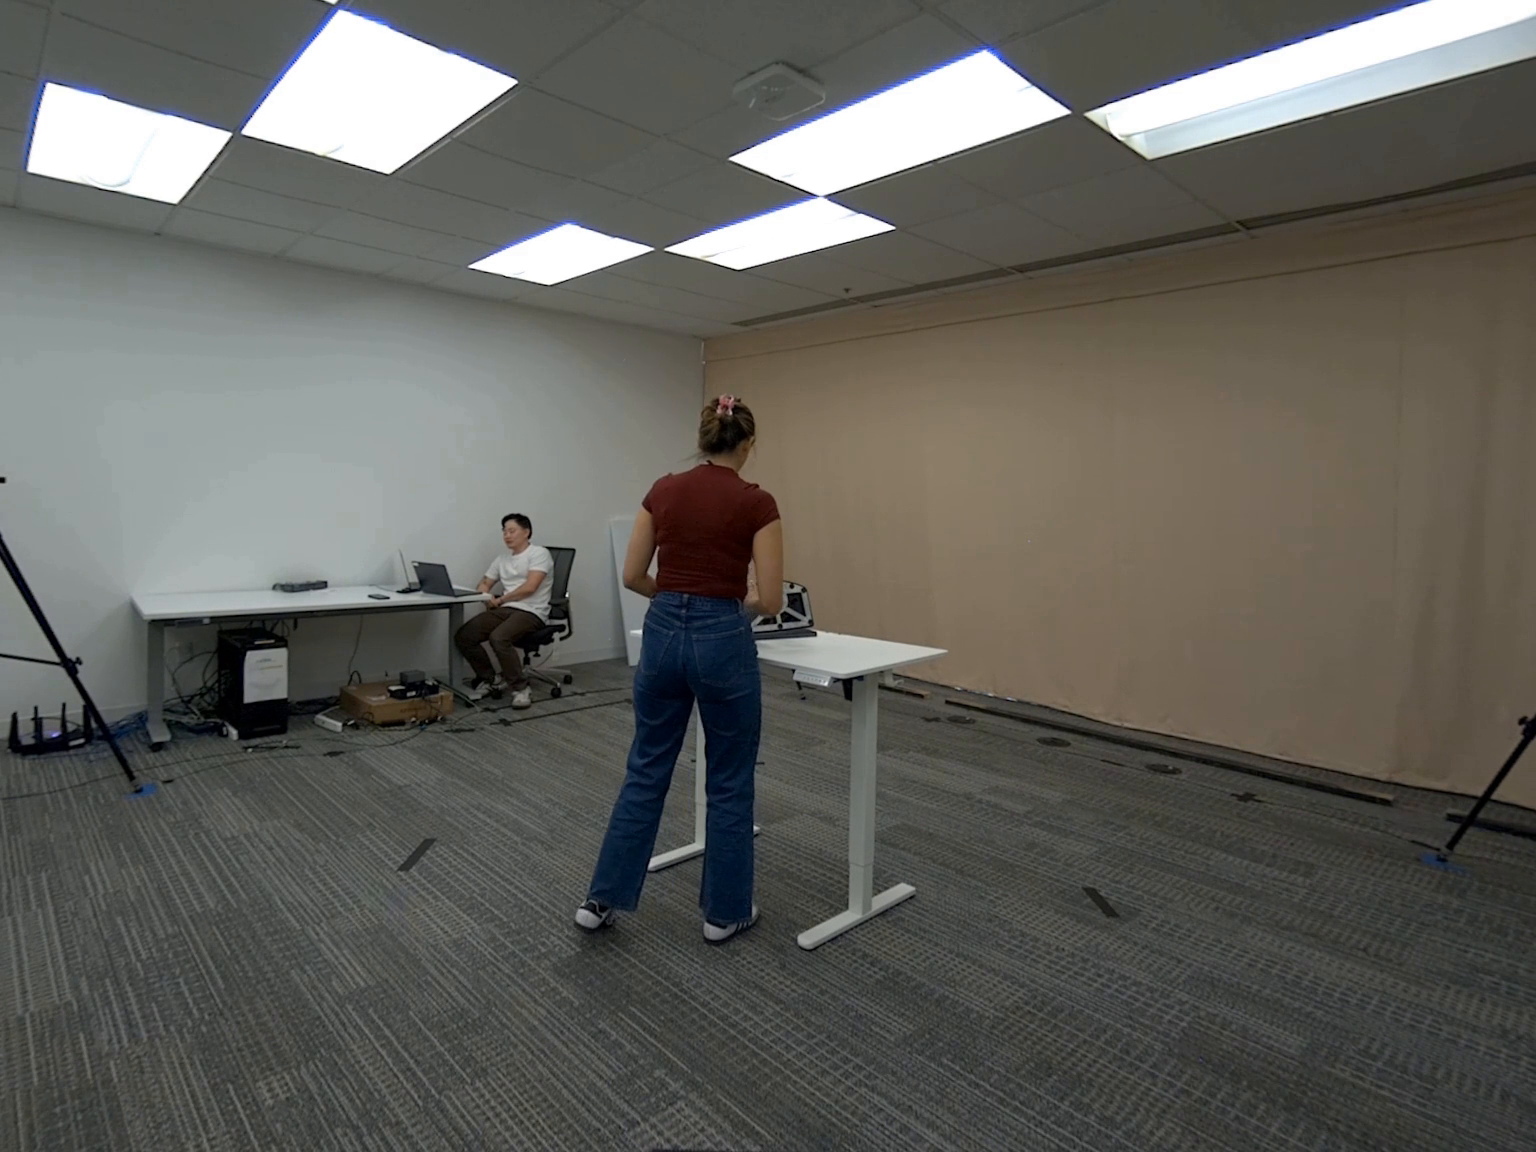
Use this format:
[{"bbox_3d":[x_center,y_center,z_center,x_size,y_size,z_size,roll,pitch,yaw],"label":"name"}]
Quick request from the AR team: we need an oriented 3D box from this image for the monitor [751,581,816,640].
[{"bbox_3d":[-0.090,0.159,3.096,0.529,0.189,0.527,0,-12,-27],"label":"monitor"}]
